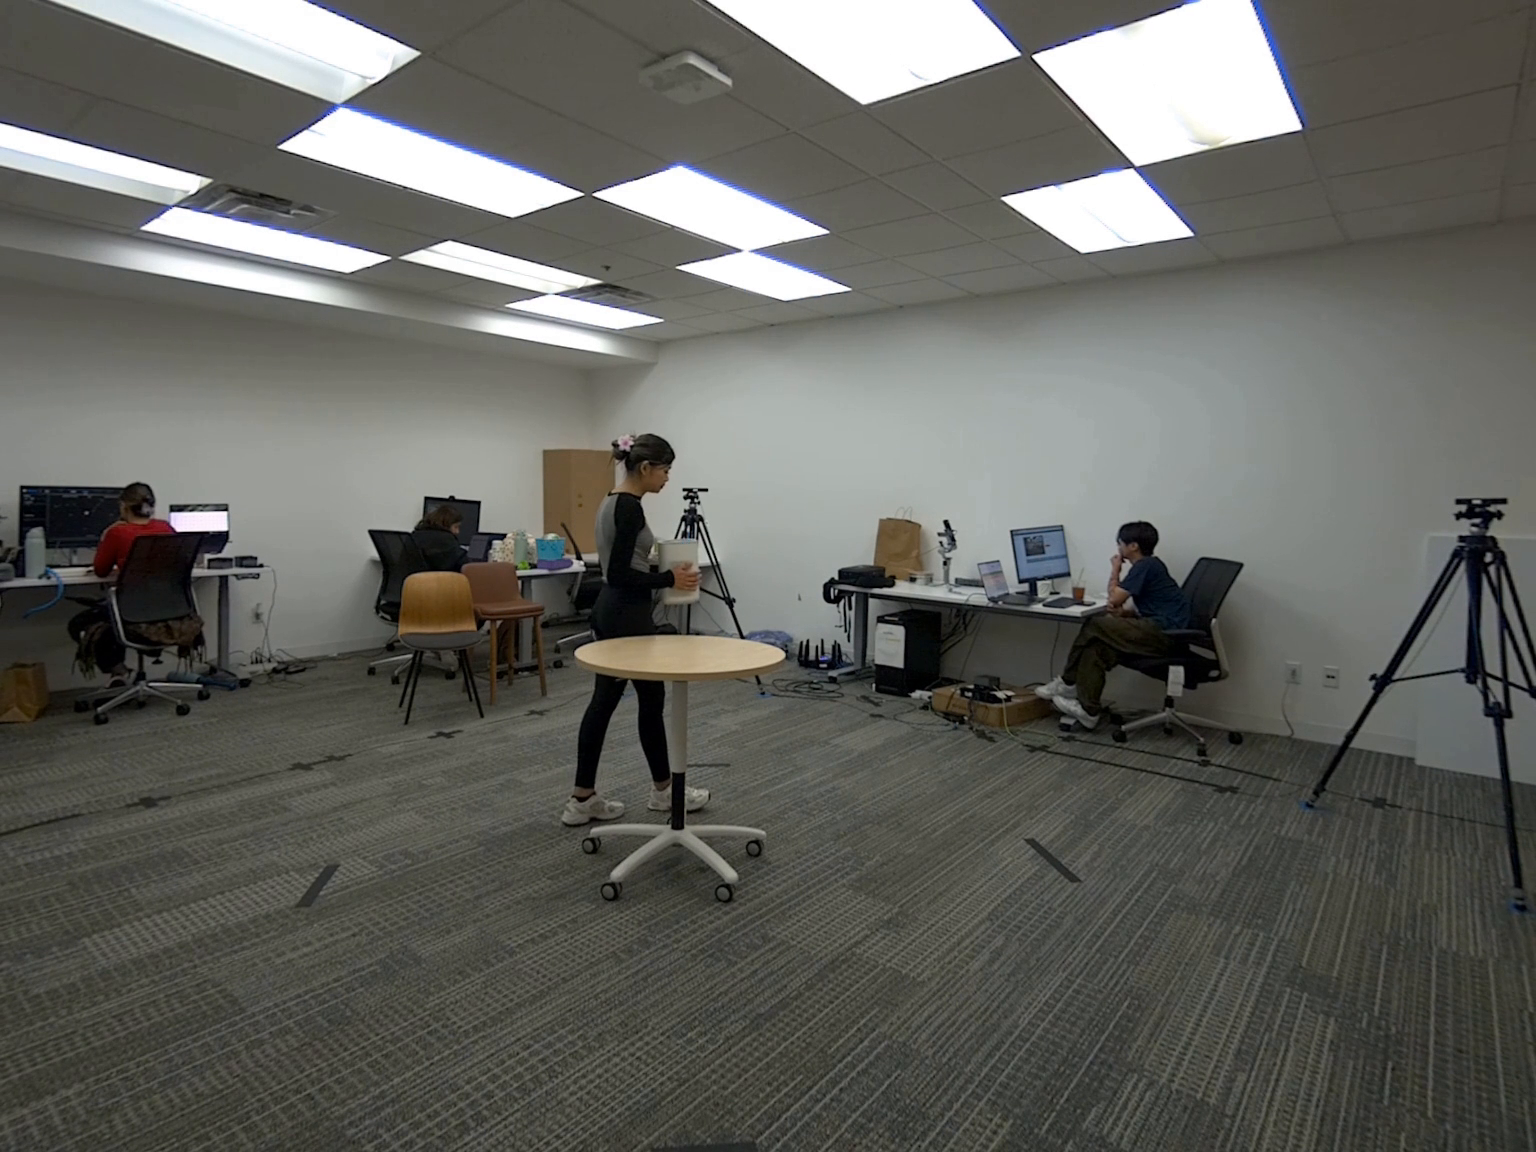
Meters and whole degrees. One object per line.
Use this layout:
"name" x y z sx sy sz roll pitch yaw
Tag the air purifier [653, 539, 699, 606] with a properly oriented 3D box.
"air purifier" -0.400 -0.022 3.638 0.171 0.264 0.172 -1 5 -1
